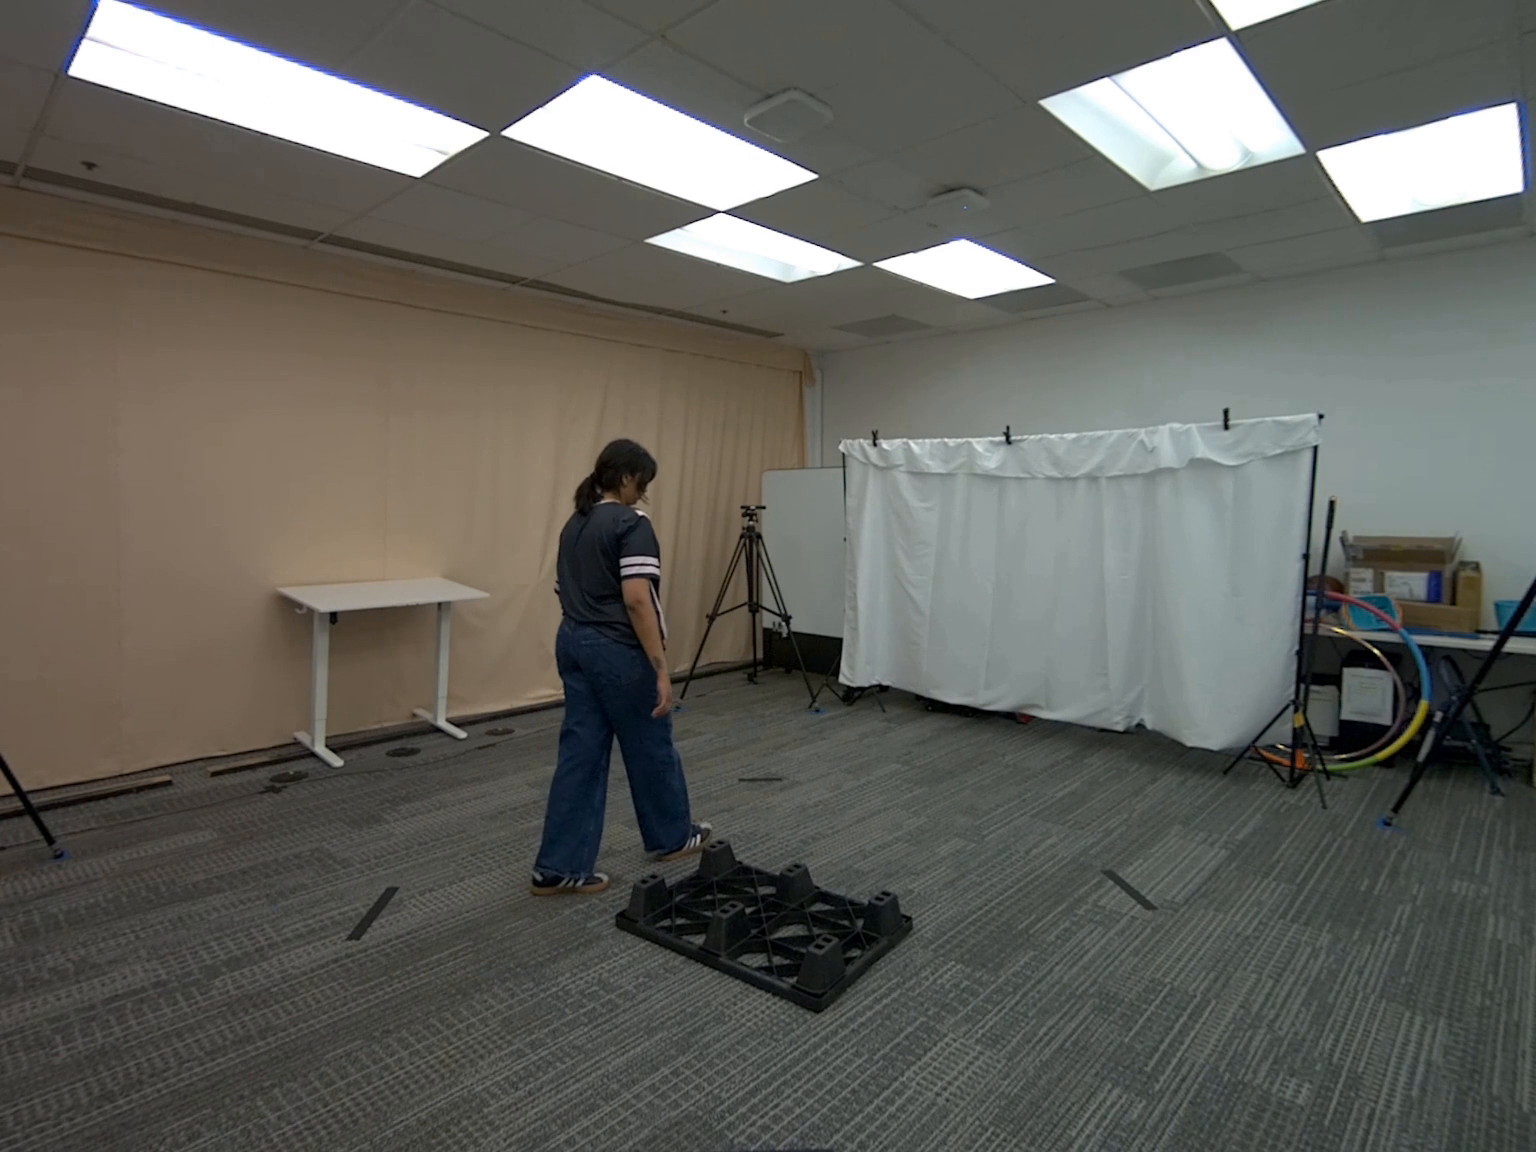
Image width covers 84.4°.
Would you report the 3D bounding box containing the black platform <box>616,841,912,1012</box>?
[{"bbox_3d":[-0.017,1.096,2.773,0.831,0.143,0.587,3,5,37],"label":"black platform"}]
